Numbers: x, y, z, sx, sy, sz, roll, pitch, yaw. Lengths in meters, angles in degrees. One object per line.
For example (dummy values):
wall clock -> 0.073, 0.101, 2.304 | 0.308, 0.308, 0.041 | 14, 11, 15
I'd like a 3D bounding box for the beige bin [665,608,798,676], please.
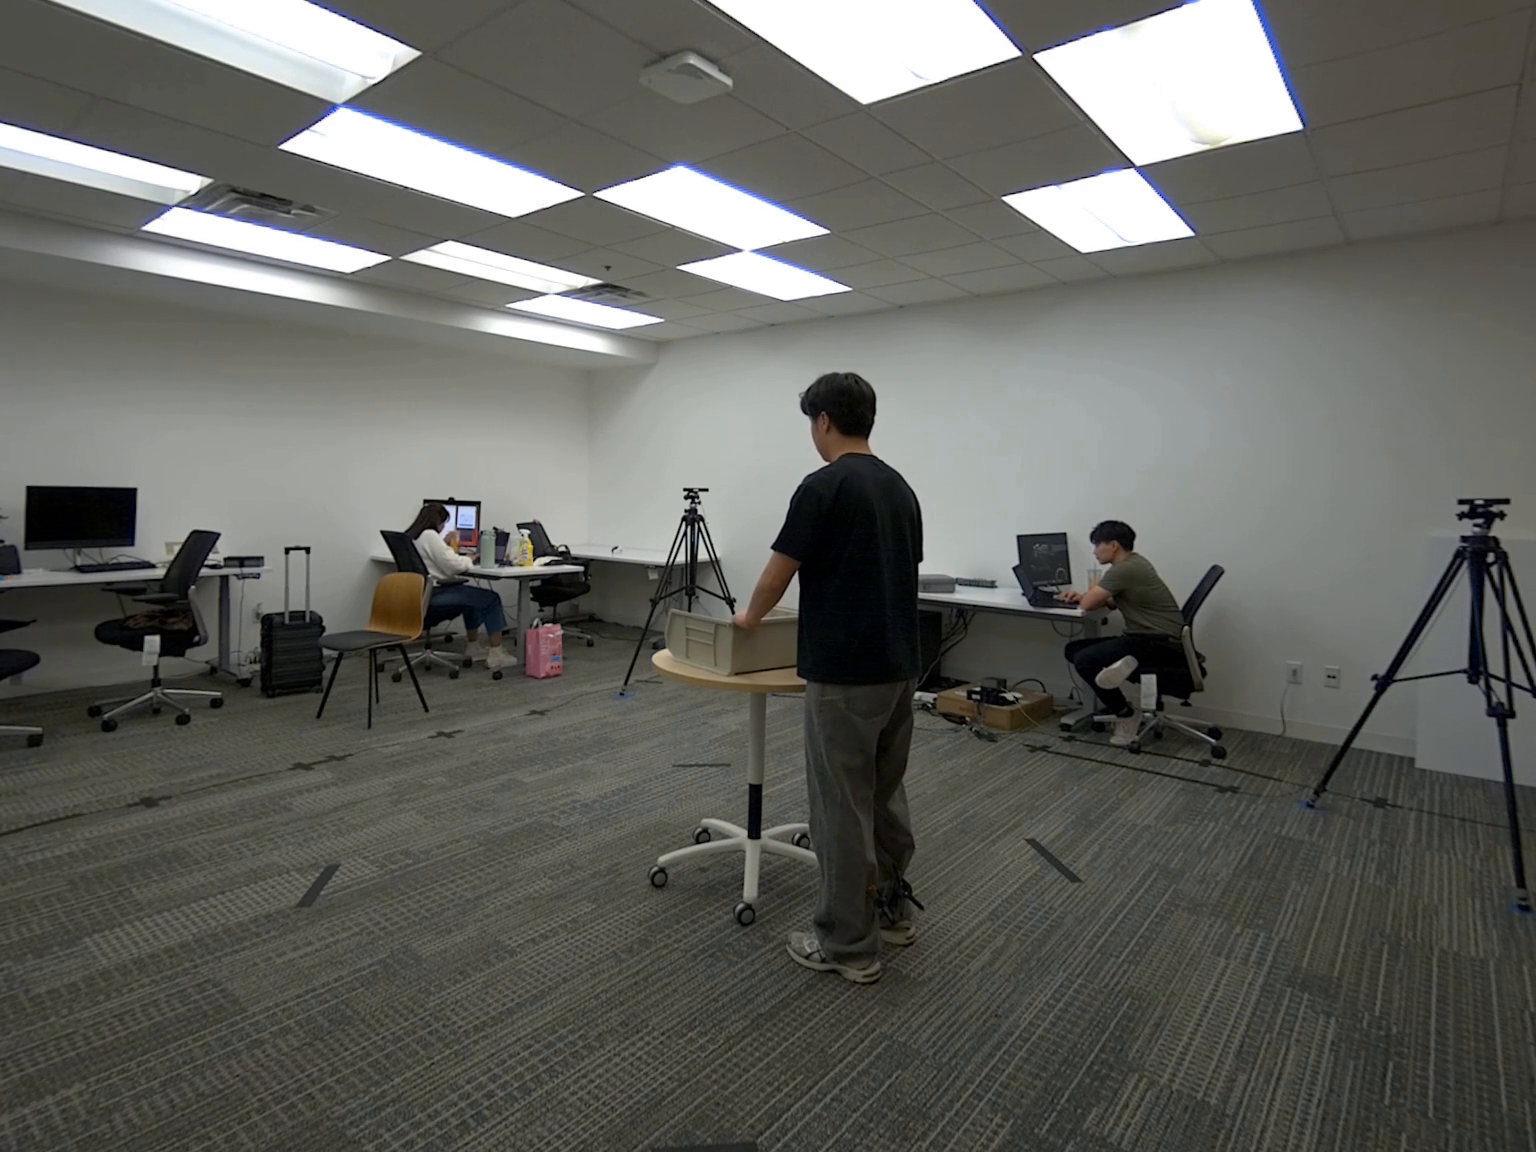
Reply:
beige bin -> -0.097, 0.210, 2.995 | 0.409, 0.188, 0.390 | -2, 7, -38
